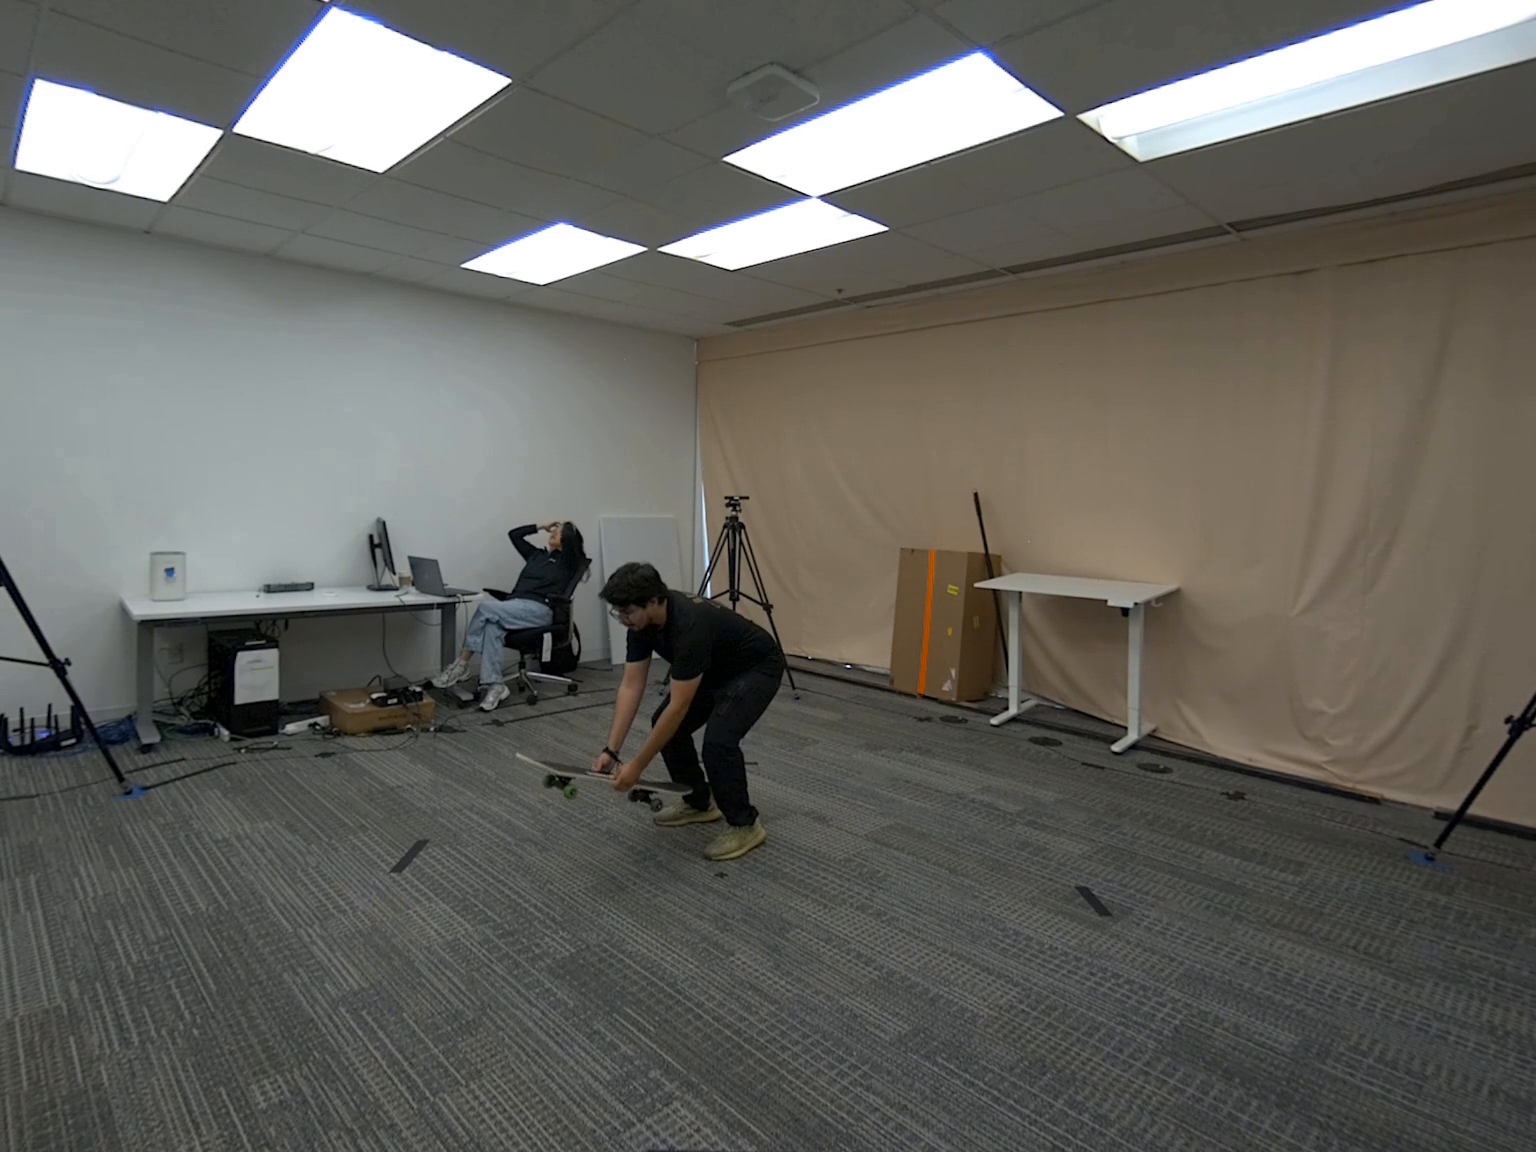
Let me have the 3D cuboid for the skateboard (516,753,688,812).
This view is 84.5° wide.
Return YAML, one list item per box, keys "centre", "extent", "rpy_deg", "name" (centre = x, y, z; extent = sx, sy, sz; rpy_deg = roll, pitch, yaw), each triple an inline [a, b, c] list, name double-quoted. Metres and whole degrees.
- centre: [-0.614, 0.787, 3.171]
  extent: [0.762, 0.111, 0.198]
  rpy_deg: [24, -13, -40]
  name: "skateboard"
